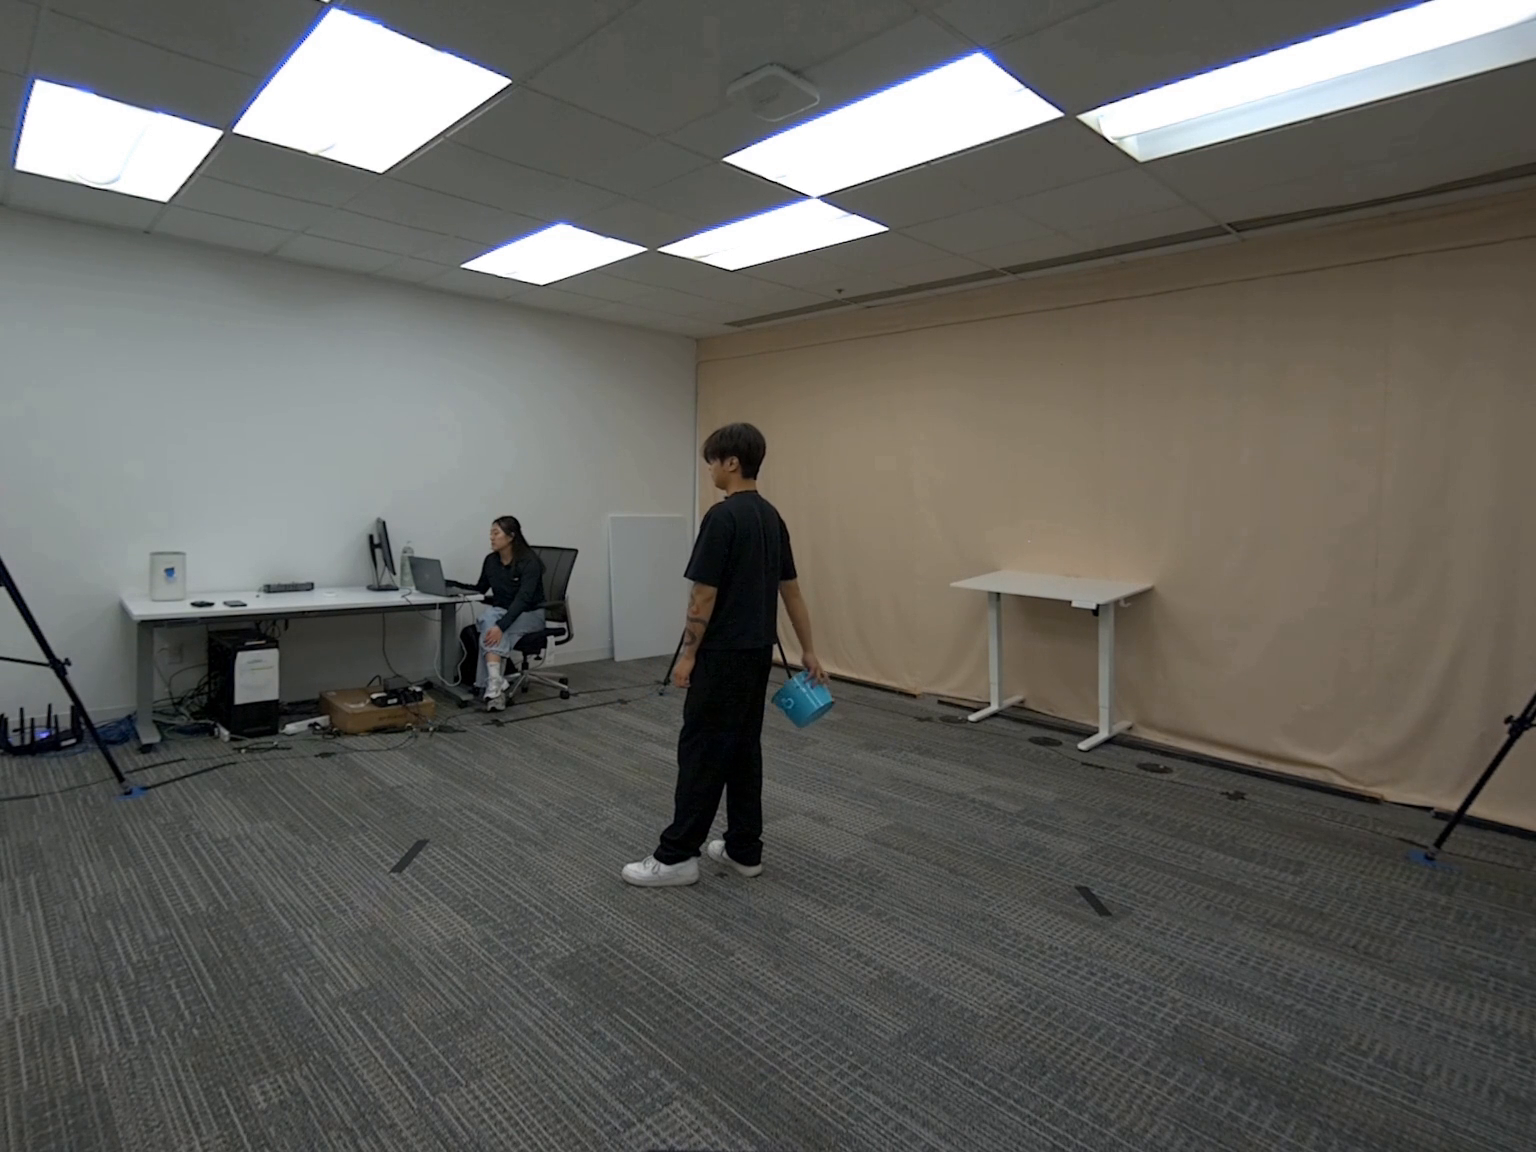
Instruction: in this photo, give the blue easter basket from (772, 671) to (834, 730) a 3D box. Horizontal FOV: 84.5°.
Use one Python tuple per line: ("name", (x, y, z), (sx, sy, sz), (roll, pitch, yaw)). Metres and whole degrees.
("blue easter basket", (0.136, 0.489, 3.383), (0.242, 0.159, 0.239), (-31, -21, -15))
